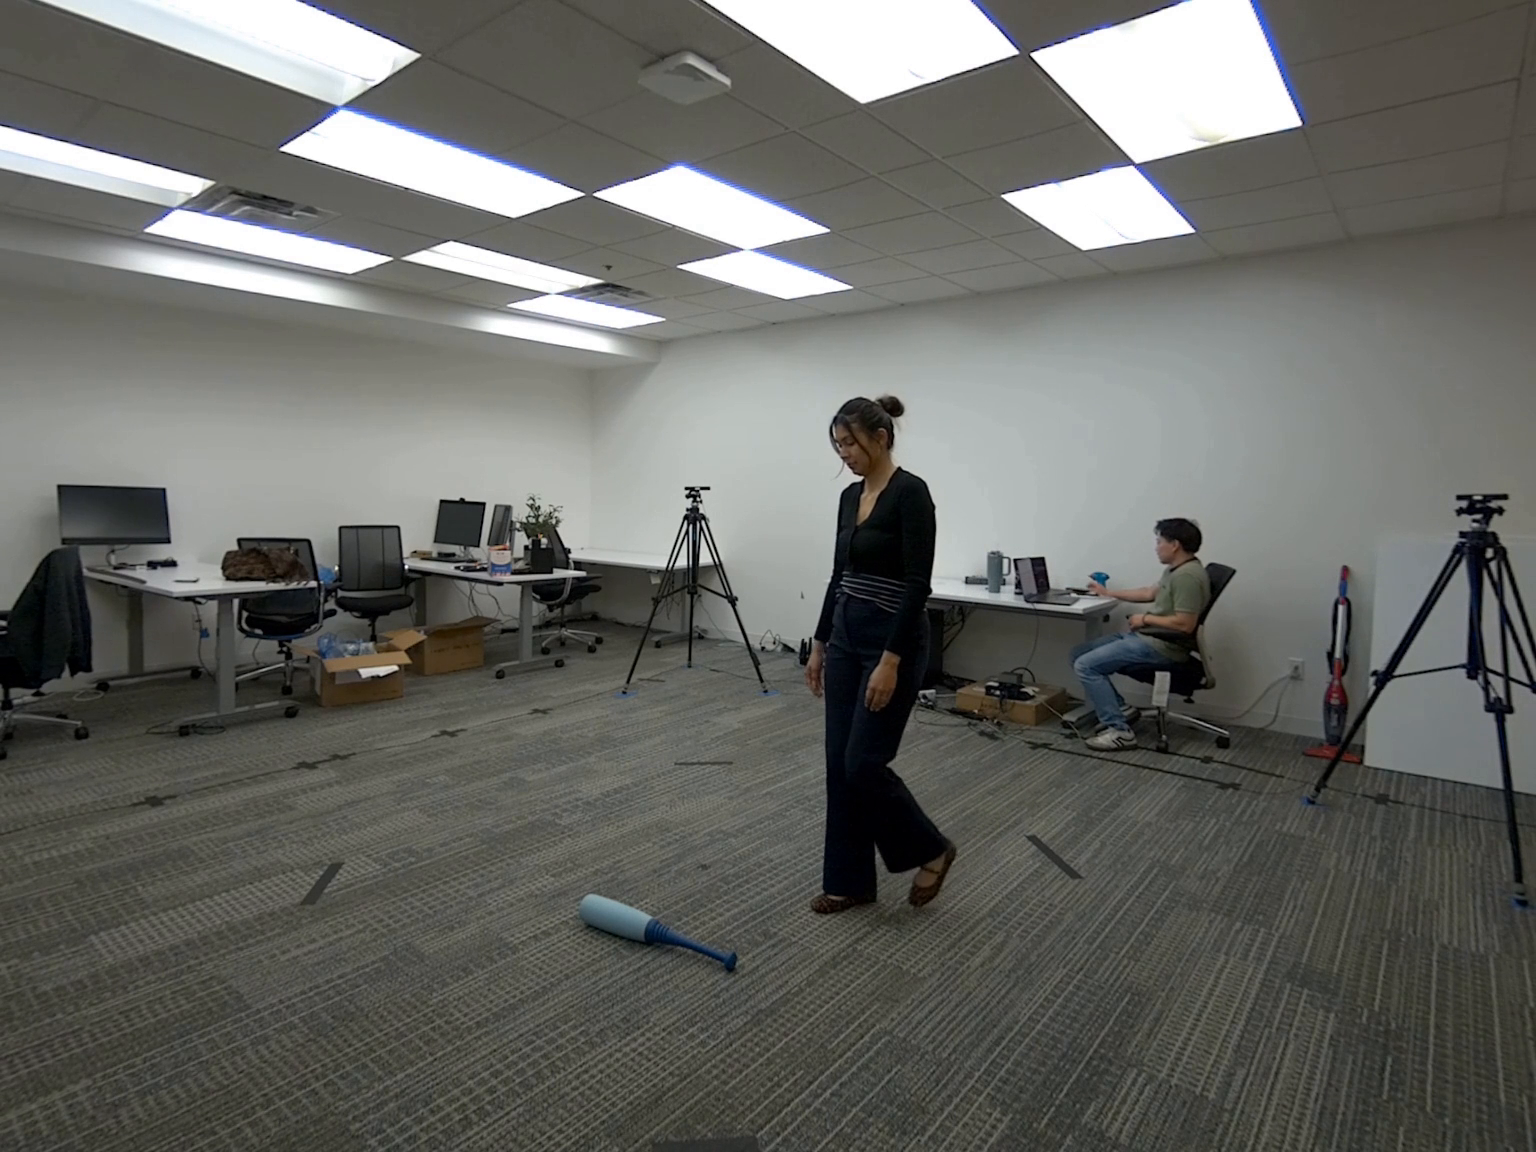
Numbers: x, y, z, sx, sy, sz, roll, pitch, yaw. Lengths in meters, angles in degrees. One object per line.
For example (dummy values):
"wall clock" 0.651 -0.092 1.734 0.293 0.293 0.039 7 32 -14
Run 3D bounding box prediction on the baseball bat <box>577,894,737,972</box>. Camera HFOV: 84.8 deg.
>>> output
"baseball bat" -0.351 1.082 2.575 0.559 0.088 0.087 7 7 28
